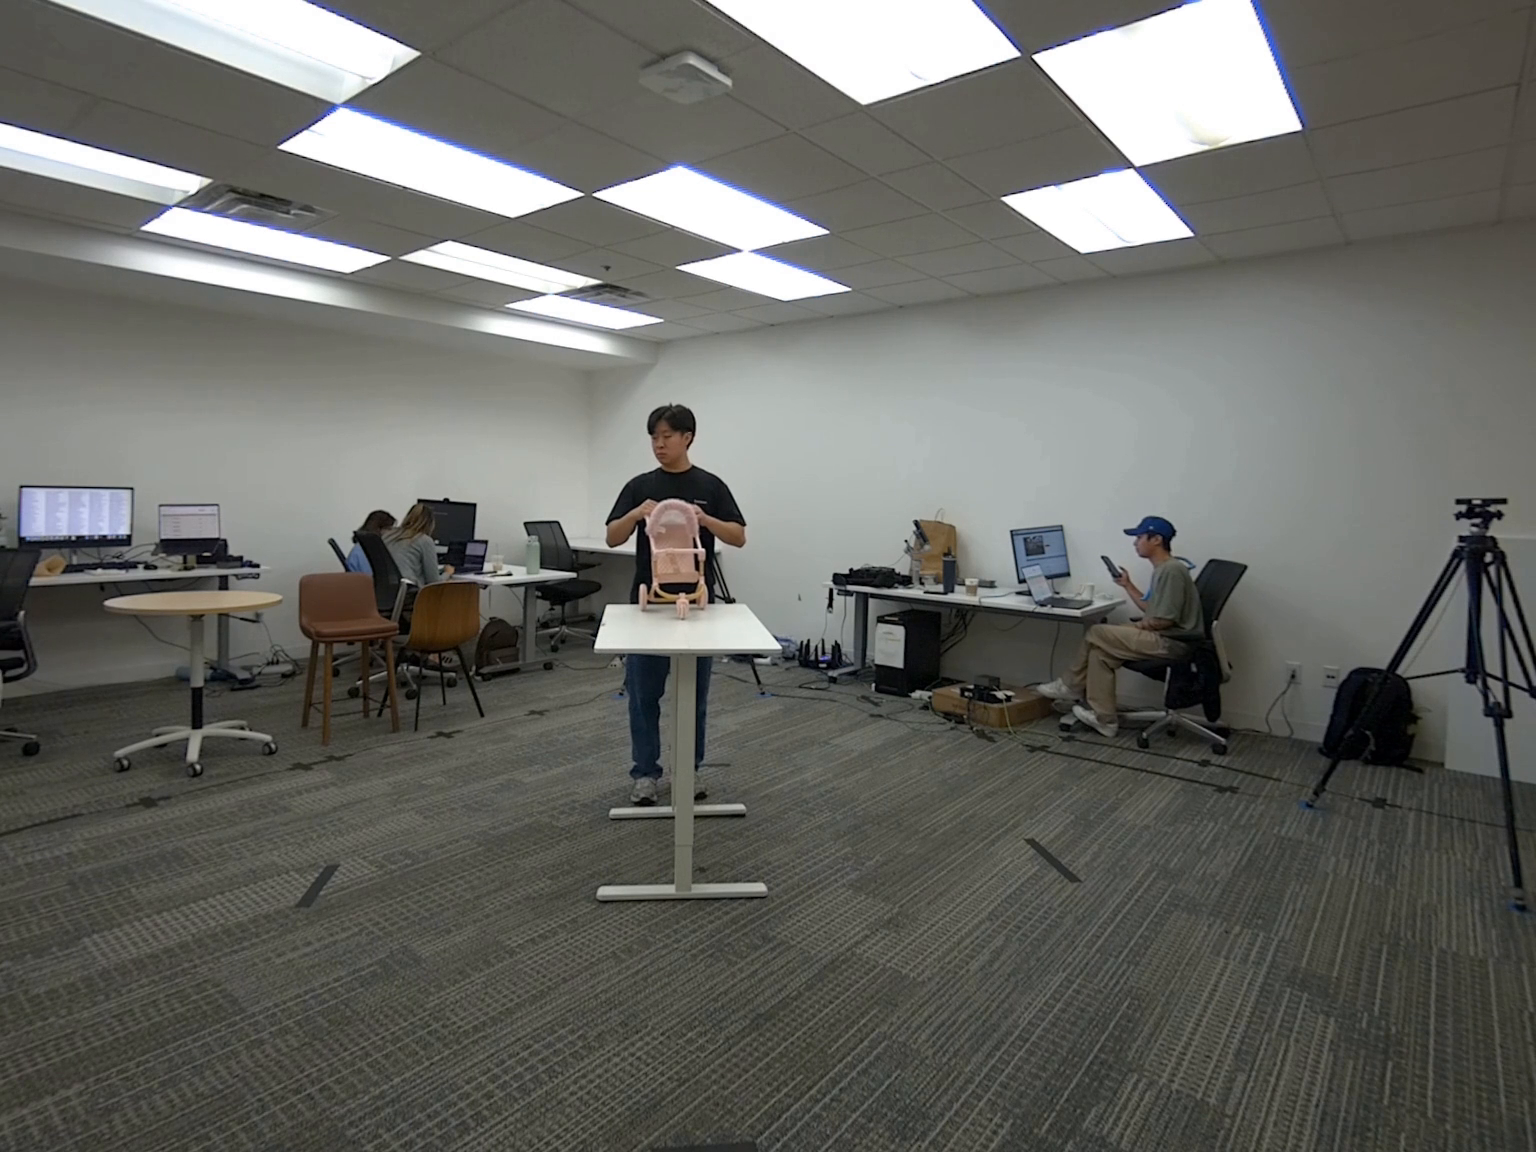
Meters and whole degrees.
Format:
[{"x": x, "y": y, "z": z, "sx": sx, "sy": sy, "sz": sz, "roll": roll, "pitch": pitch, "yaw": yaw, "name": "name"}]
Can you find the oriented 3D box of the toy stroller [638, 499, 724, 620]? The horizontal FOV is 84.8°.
[{"x": -0.392, "y": -0.078, "z": 3.459, "sx": 0.279, "sy": 0.541, "sz": 0.341, "roll": -1, "pitch": -12, "yaw": -10, "name": "toy stroller"}]
